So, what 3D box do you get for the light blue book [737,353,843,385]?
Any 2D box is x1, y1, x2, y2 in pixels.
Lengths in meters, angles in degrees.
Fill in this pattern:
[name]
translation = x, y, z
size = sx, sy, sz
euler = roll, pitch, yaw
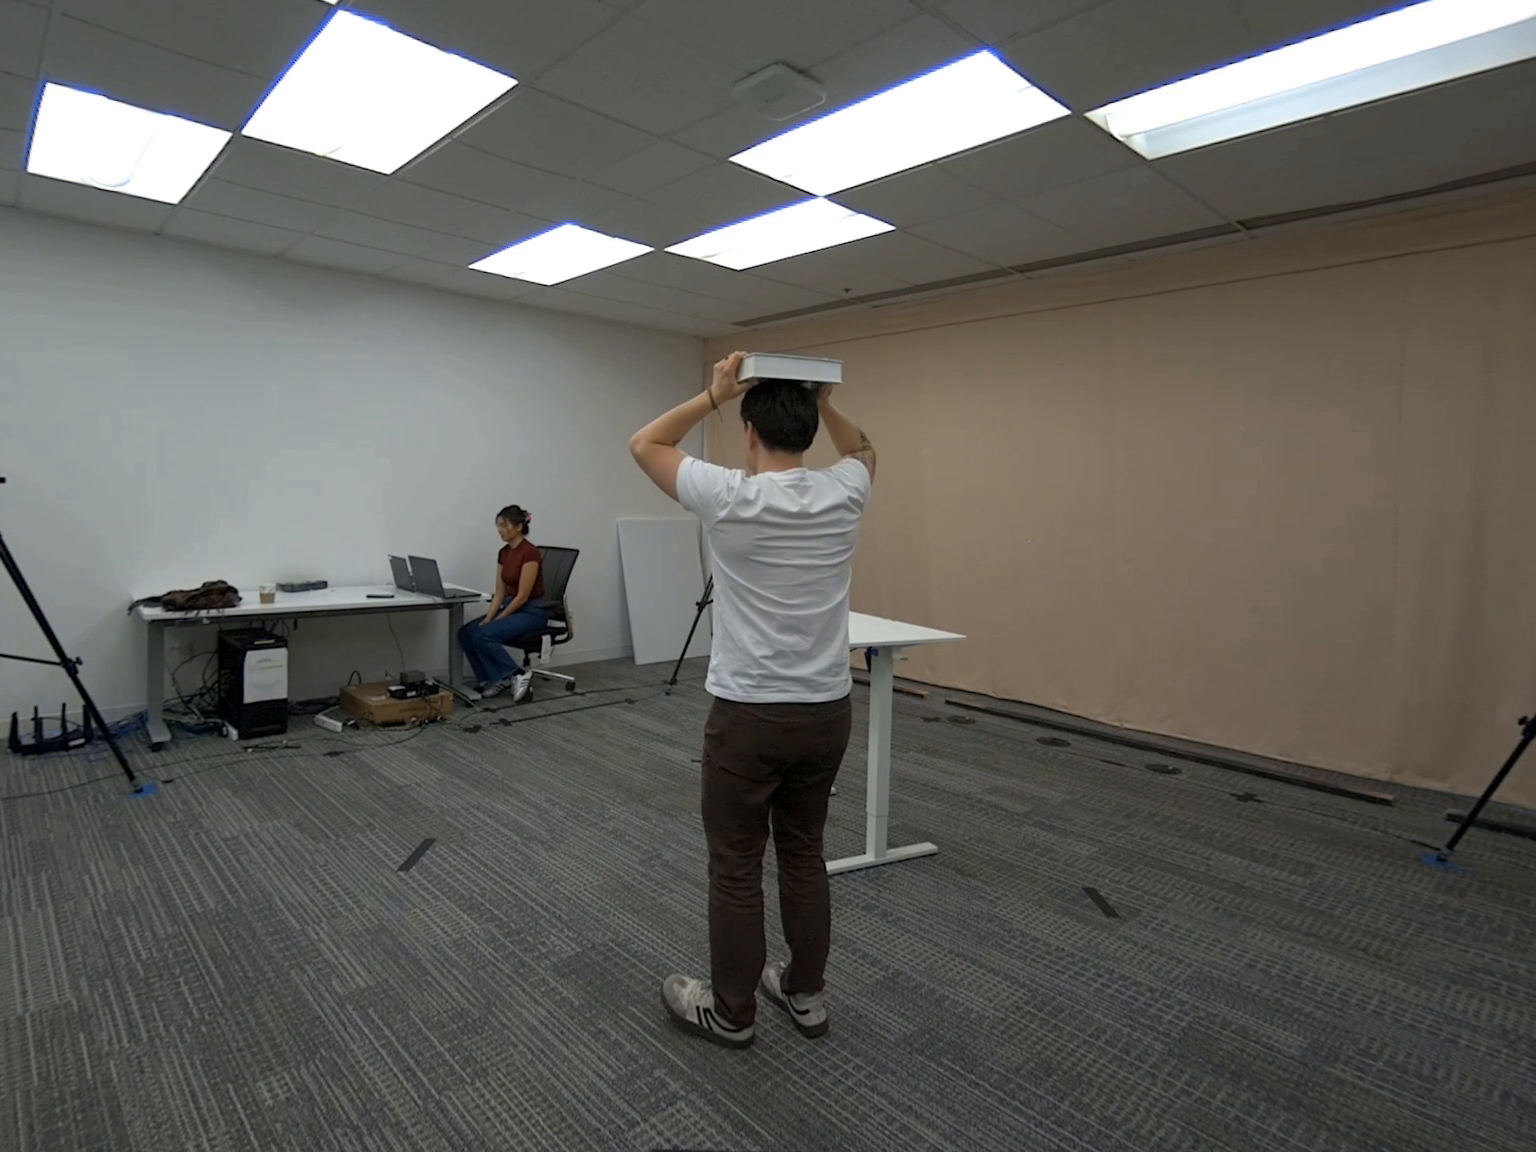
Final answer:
[light blue book]
translation = 0.018, -0.515, 2.136
size = 0.256, 0.059, 0.195
euler = -2, 5, -28
